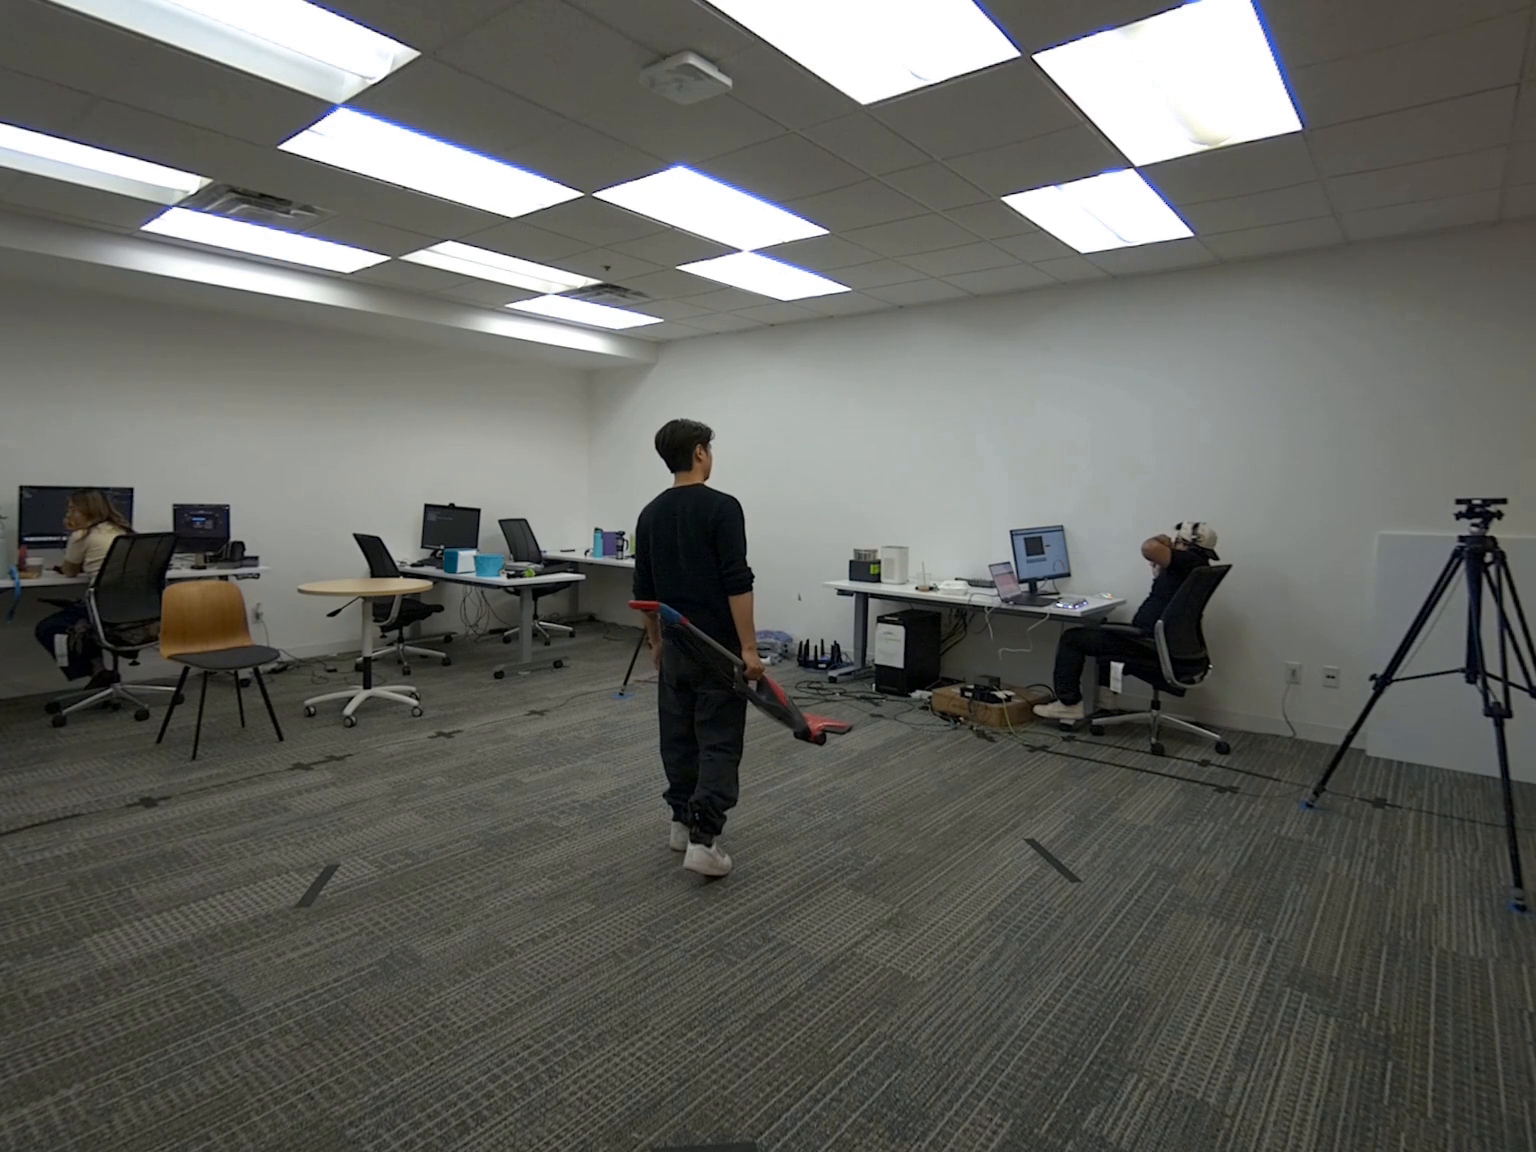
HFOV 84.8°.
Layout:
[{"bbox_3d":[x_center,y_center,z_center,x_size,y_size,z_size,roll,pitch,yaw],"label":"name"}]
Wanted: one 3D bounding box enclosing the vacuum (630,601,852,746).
[{"bbox_3d":[-0.120,0.346,3.038,0.261,0.145,1.007,4,-27,48],"label":"vacuum"}]
